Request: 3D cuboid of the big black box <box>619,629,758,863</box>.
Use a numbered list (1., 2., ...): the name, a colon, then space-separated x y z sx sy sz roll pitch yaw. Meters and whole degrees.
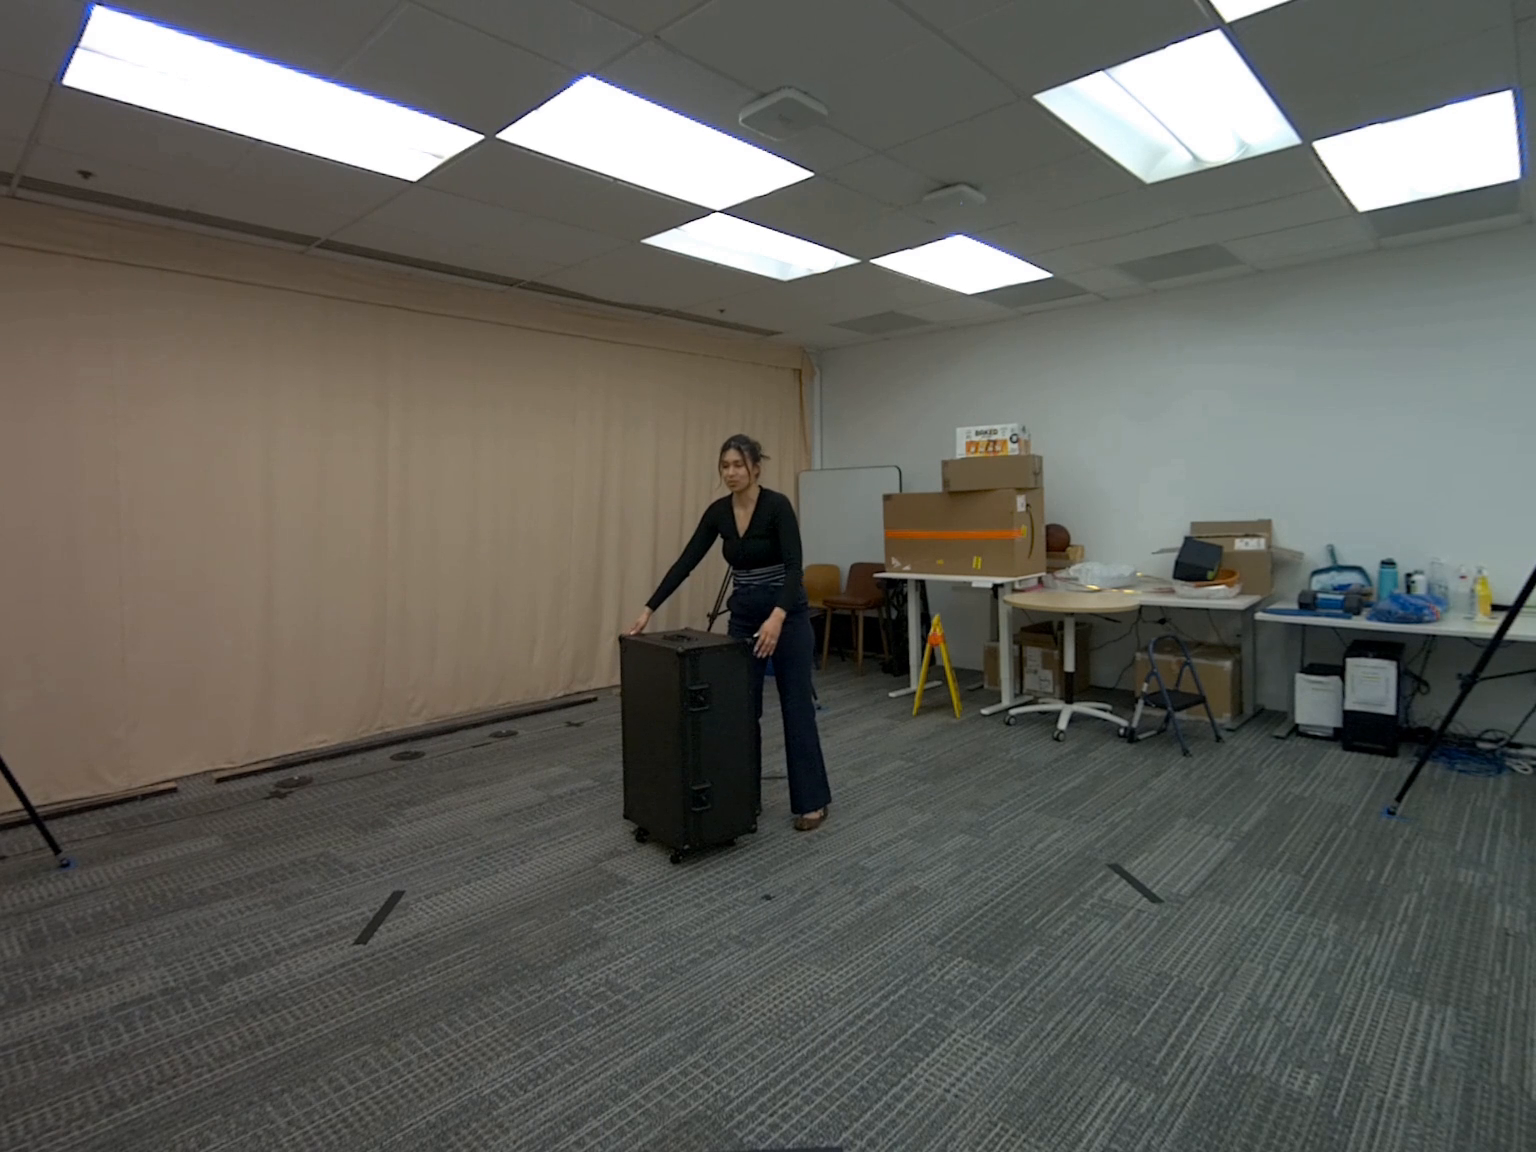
1. big black box: -0.333 0.678 3.490 0.384 0.860 0.538 -1 2 -36
